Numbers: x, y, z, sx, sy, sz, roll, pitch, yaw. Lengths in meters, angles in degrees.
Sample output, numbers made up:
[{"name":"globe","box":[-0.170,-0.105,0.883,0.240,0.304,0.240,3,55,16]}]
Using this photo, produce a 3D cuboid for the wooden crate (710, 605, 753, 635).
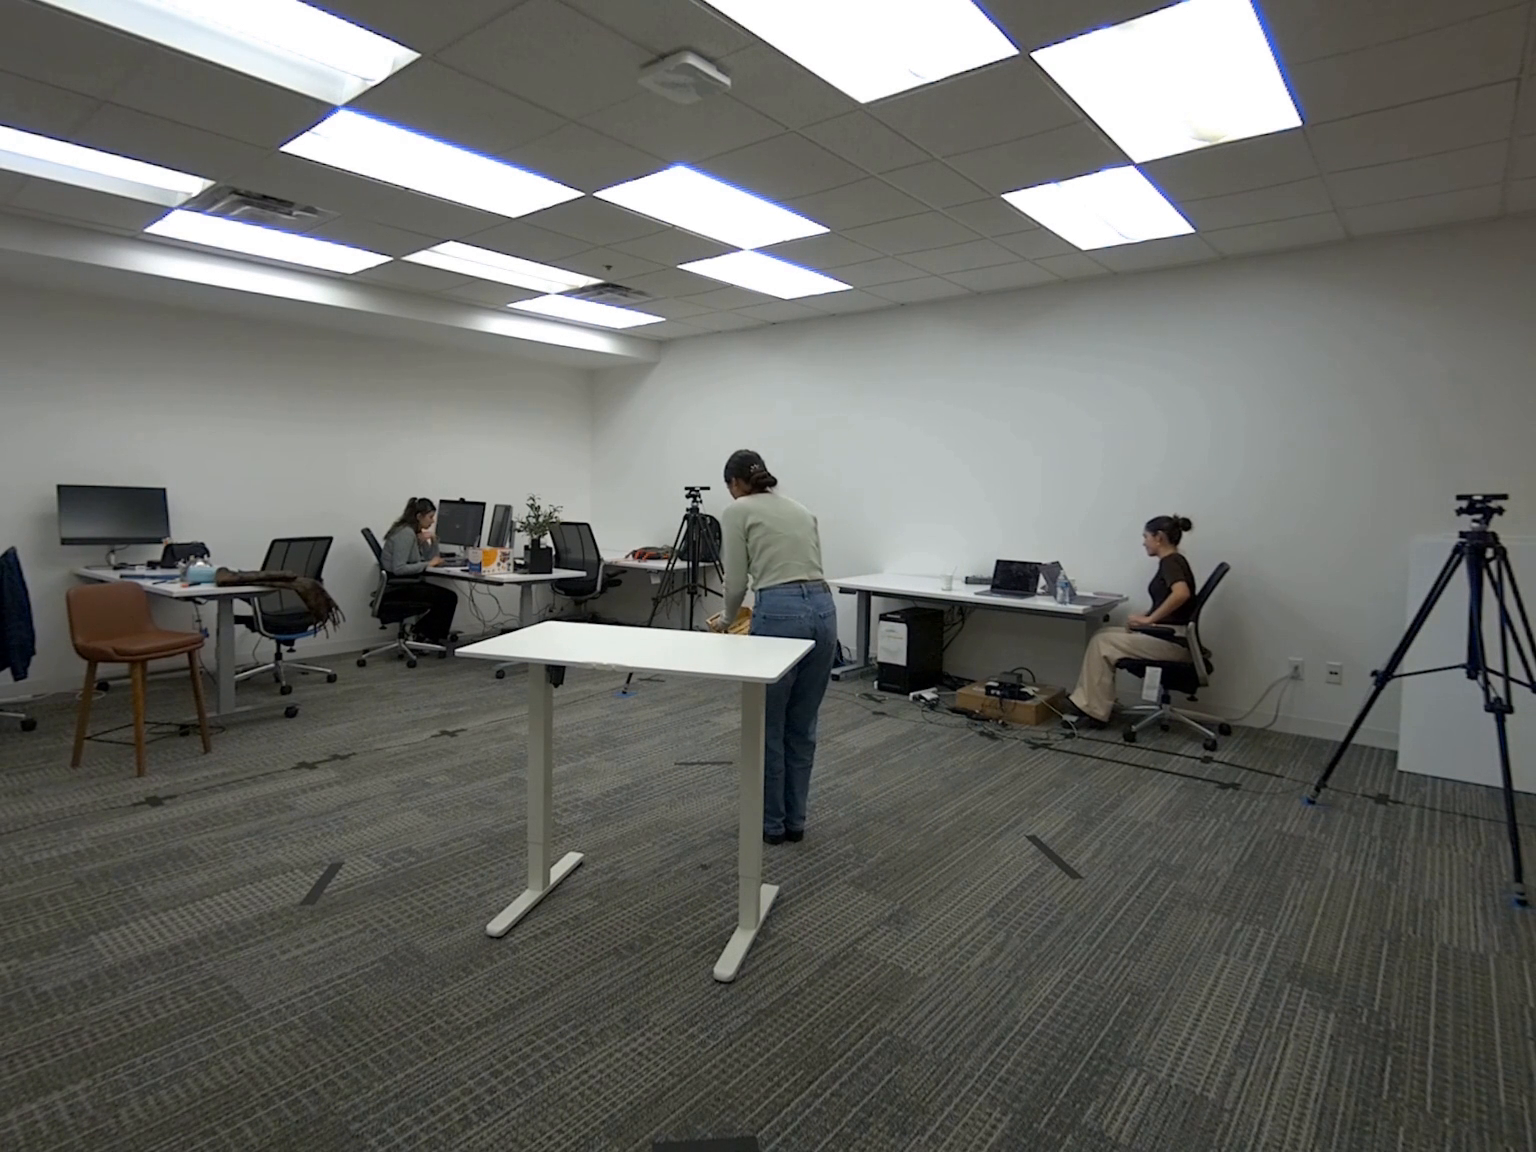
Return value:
[{"name":"wooden crate","box":[-0.041,0.276,3.634,0.299,0.266,0.337,-25,27,-17]}]
